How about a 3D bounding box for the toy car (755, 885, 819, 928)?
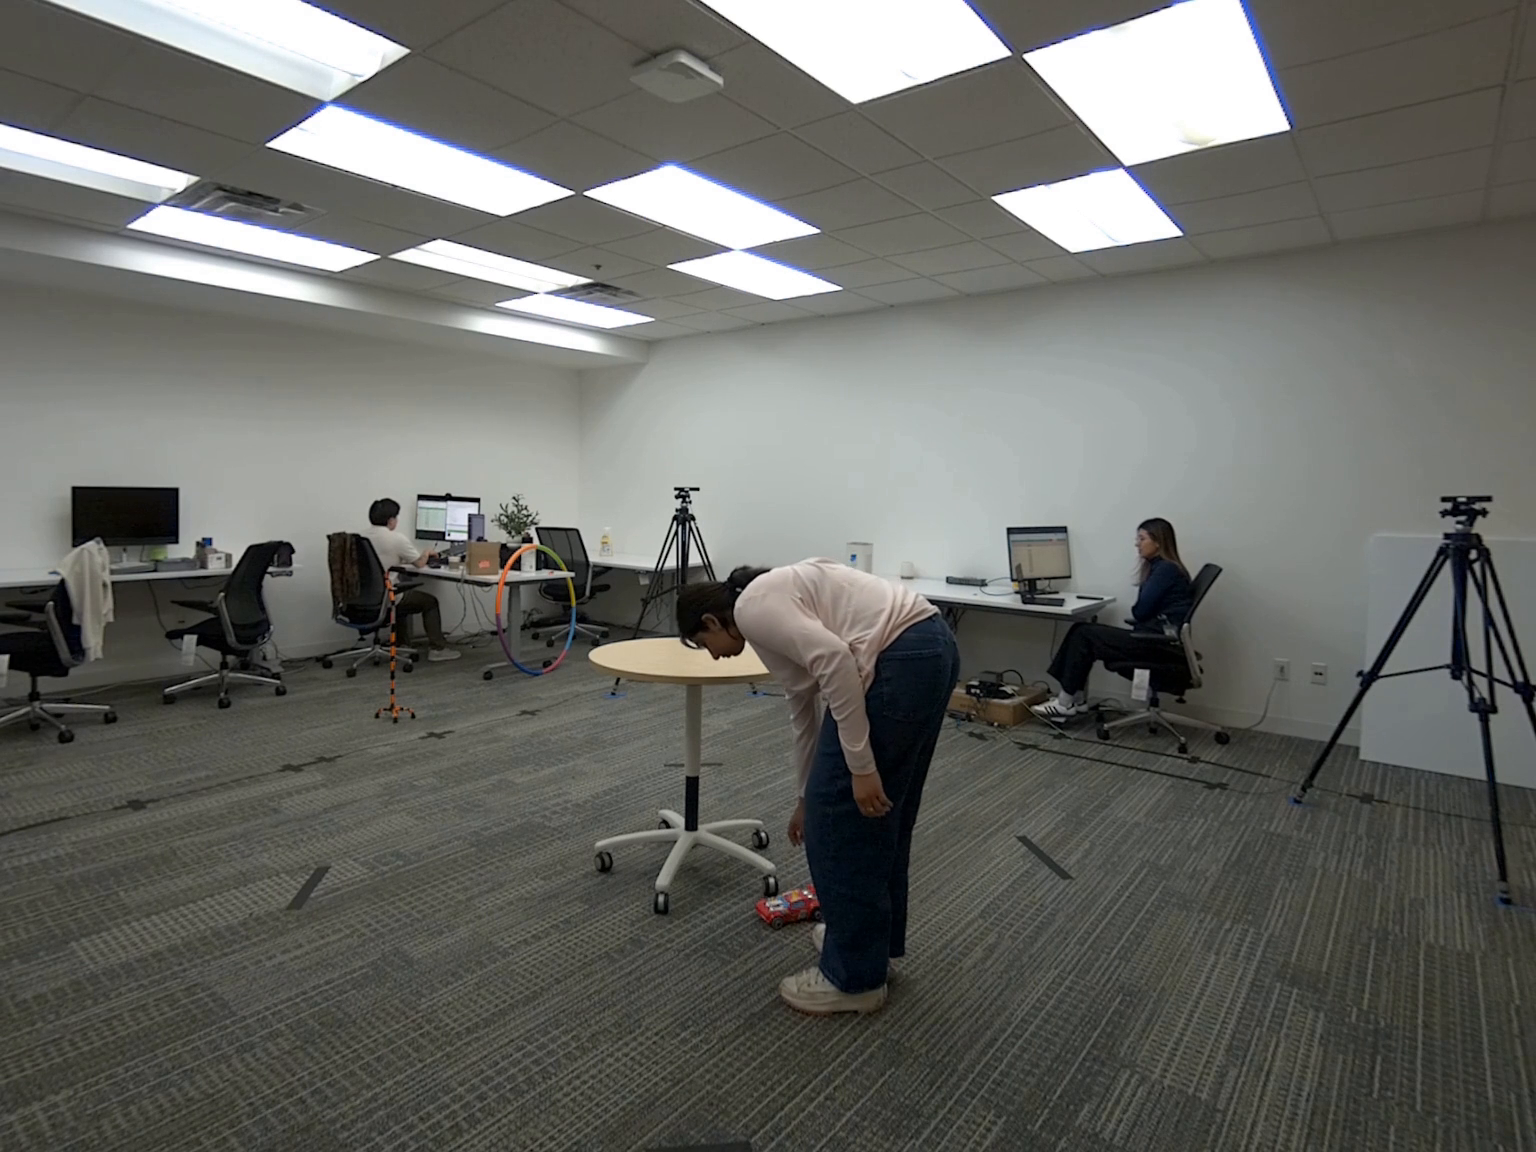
[{"bbox_3d":[0.083,1.075,2.772,0.250,0.082,0.134,-12,11,-23],"label":"toy car"}]
